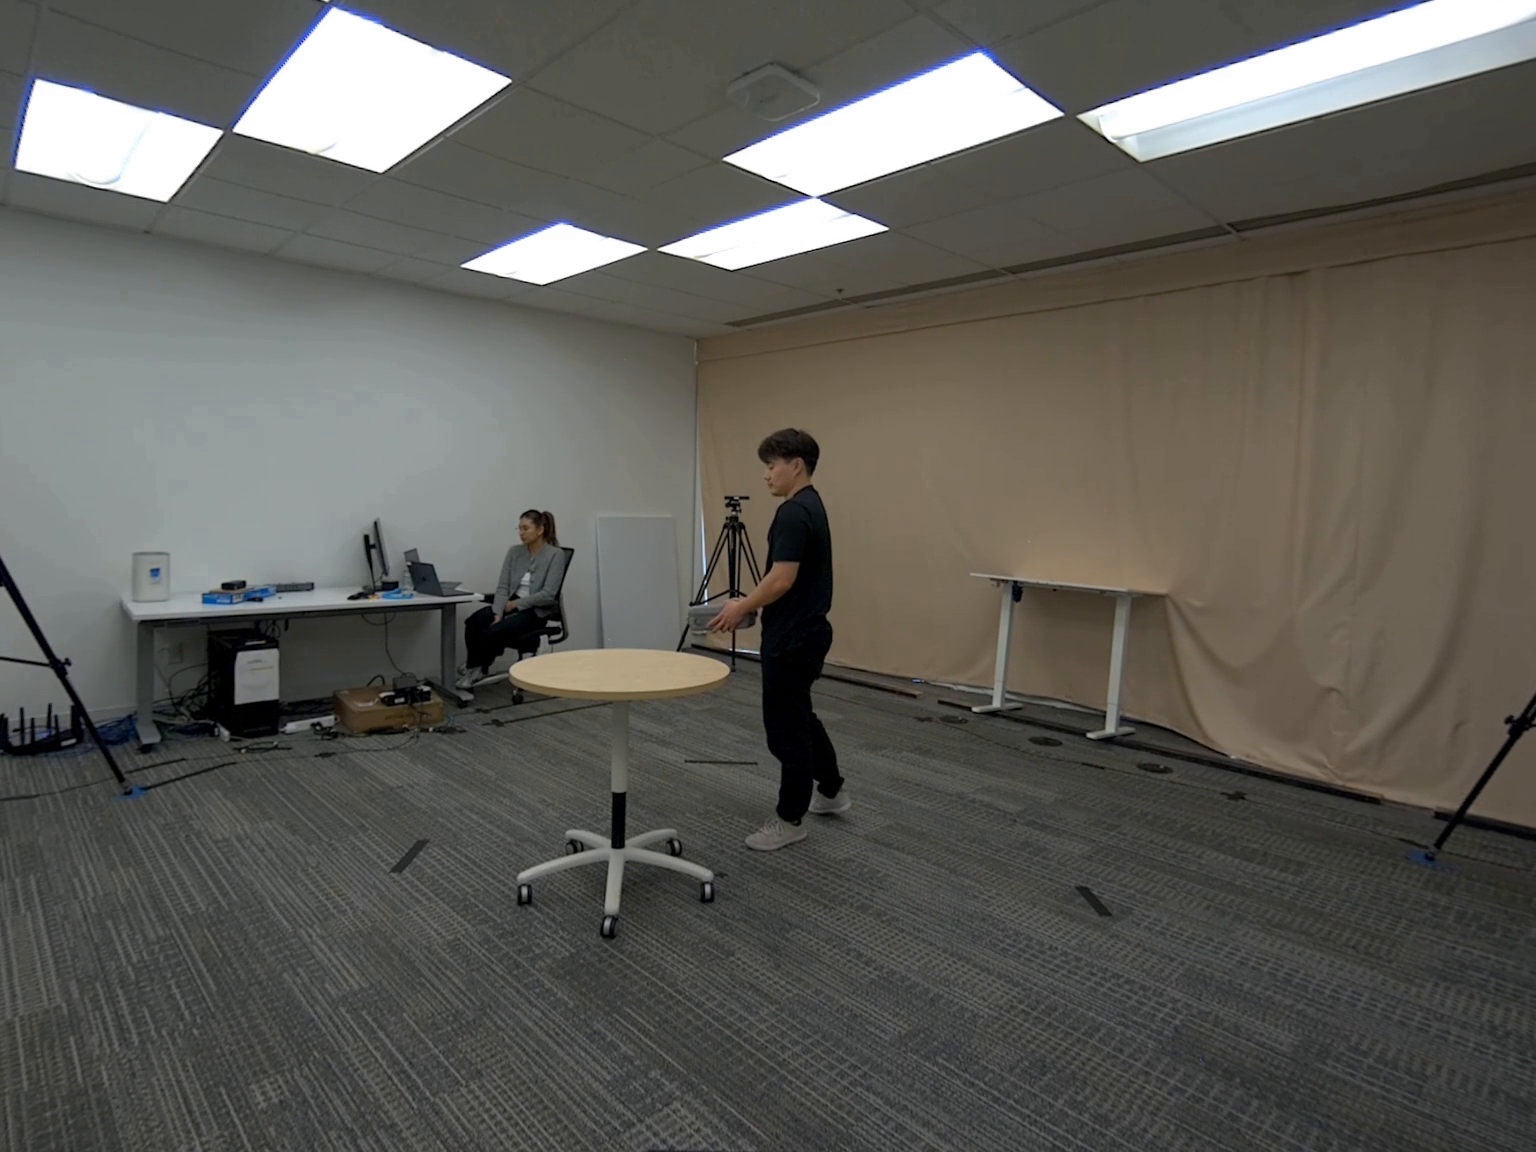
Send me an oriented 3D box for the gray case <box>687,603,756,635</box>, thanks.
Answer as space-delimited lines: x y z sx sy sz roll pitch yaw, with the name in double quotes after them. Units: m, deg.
-0.185 0.167 3.486 0.262 0.104 0.255 -2 2 8 "gray case"
